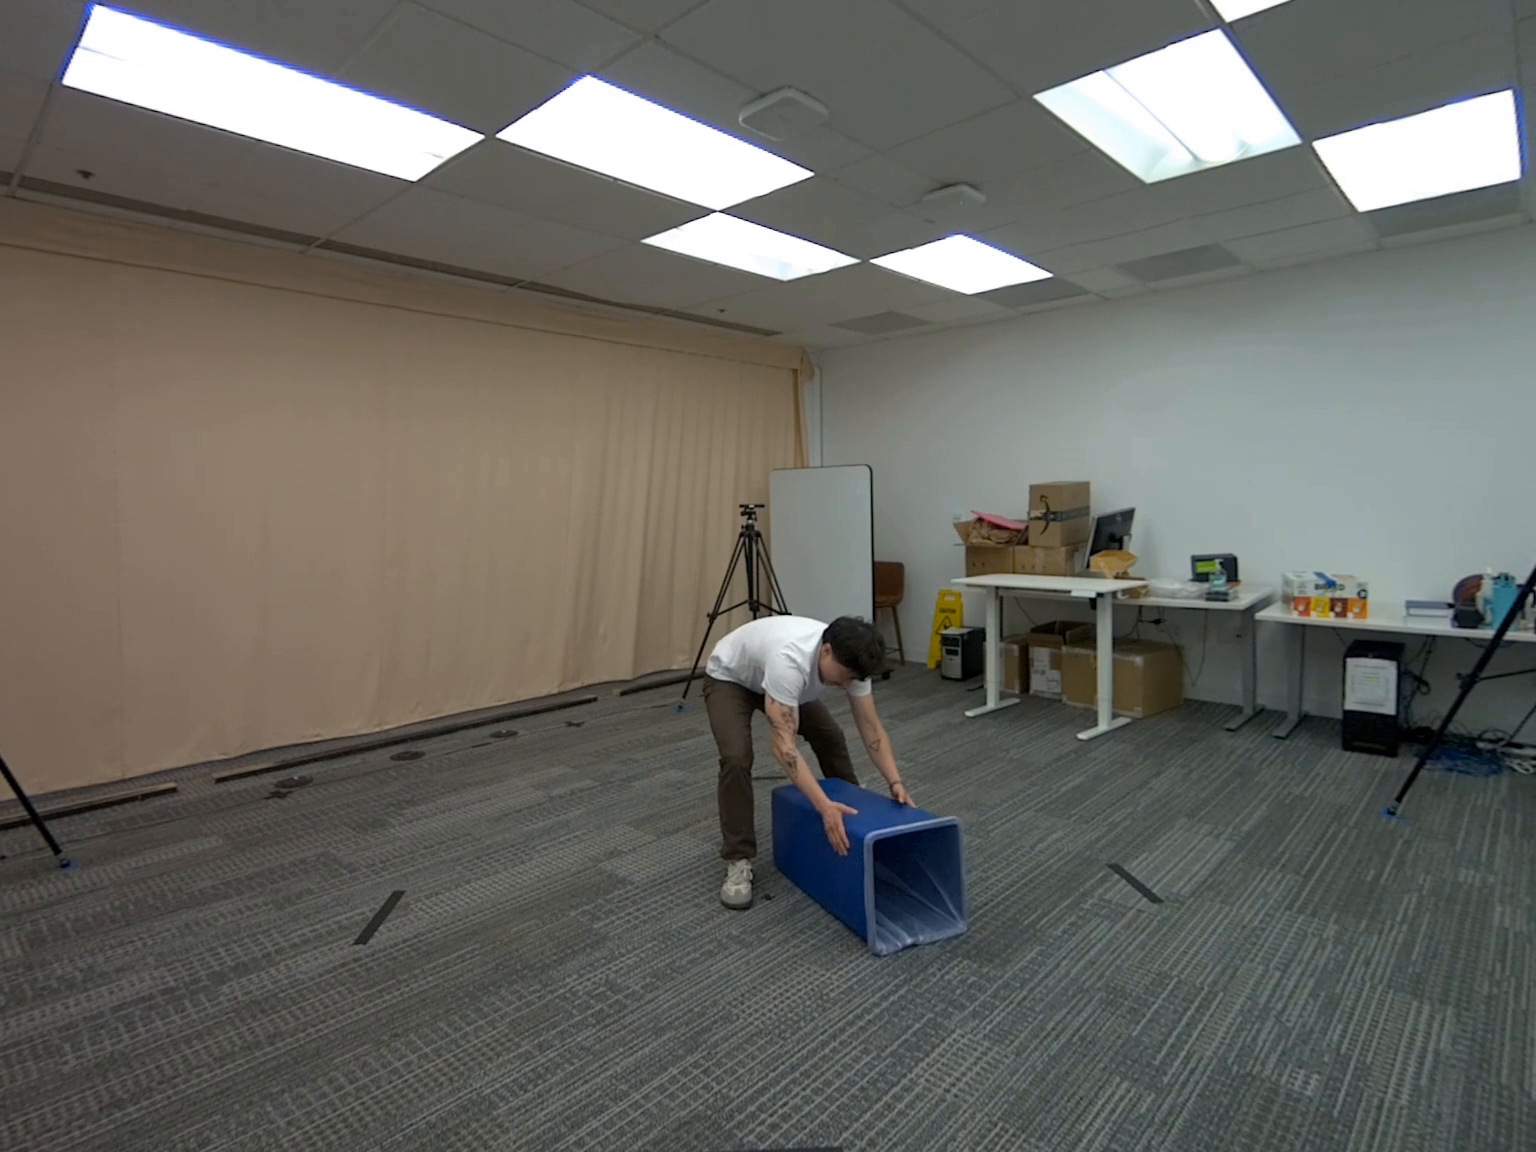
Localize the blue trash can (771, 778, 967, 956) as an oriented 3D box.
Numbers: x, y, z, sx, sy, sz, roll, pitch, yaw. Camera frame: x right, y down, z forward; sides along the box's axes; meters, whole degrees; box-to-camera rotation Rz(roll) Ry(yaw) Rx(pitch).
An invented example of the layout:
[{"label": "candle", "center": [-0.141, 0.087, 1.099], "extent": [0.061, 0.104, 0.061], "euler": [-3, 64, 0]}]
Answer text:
[{"label": "blue trash can", "center": [0.324, 0.949, 2.964], "extent": [0.365, 0.378, 0.731], "euler": [-3, 2, -26]}]
